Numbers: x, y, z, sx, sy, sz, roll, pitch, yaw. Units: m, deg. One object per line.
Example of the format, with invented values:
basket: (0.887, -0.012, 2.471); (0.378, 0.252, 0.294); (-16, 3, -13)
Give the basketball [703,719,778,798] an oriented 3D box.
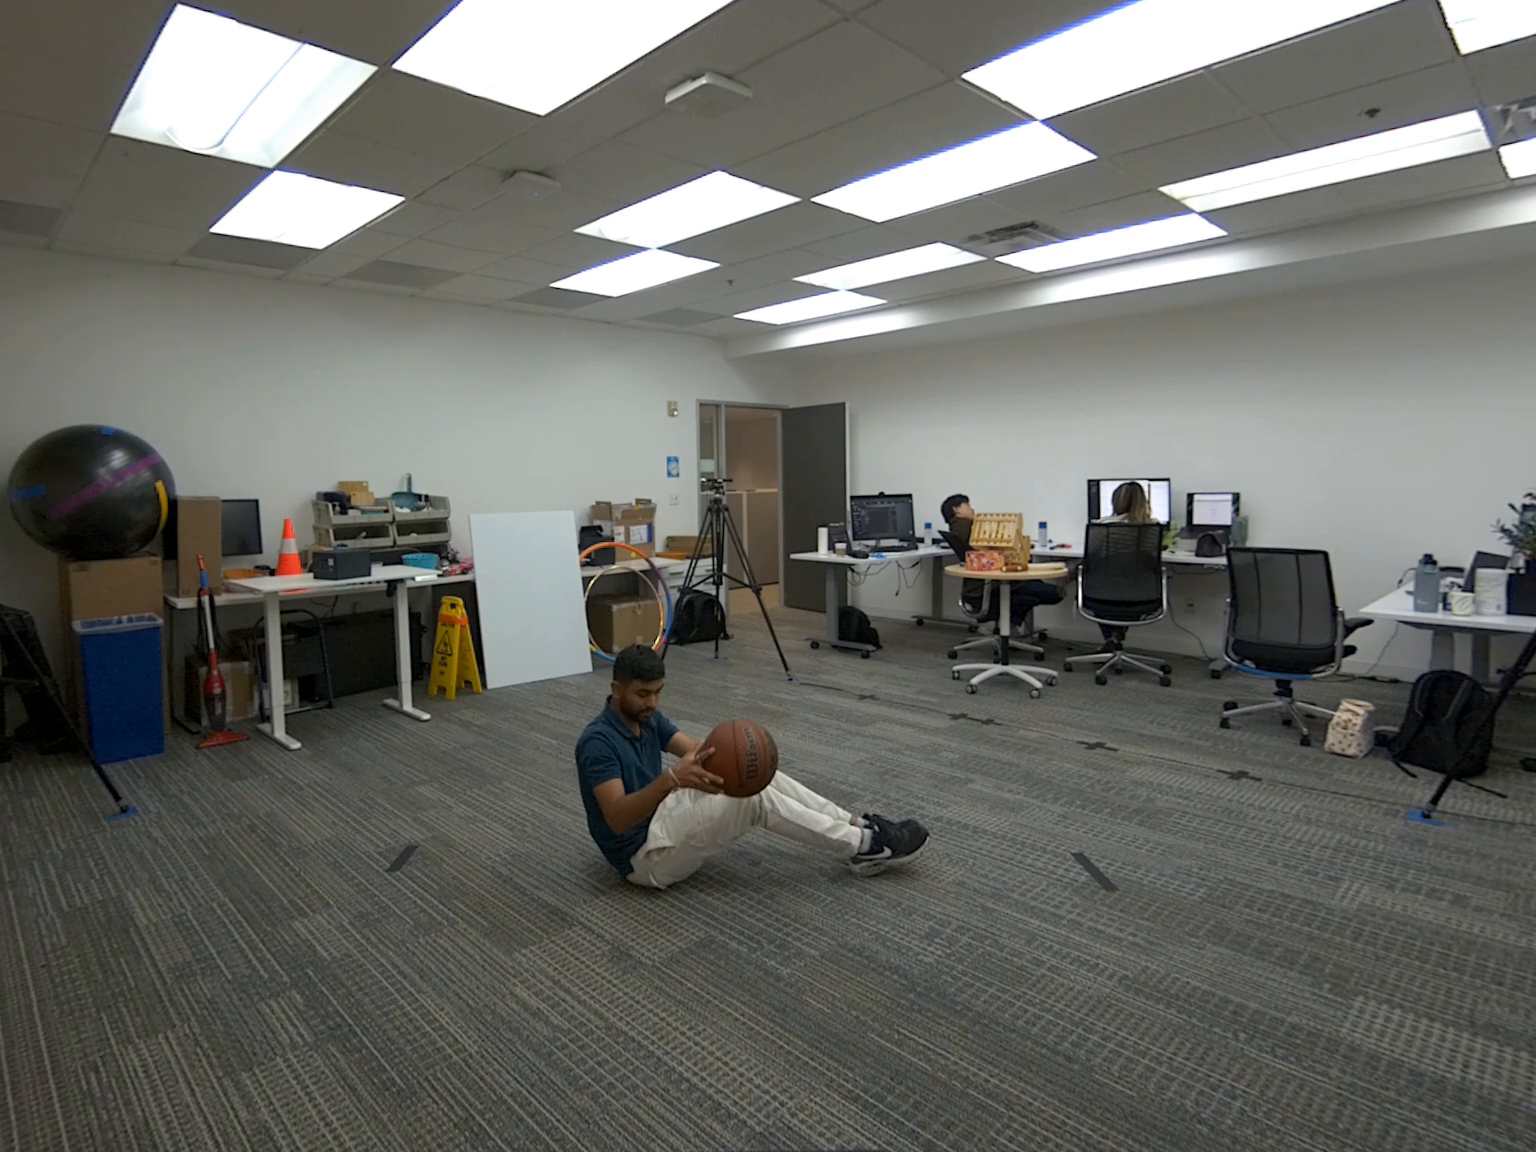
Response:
basketball: (-0.079, 0.582, 2.647); (0.236, 0.235, 0.237); (-1, 5, -2)
